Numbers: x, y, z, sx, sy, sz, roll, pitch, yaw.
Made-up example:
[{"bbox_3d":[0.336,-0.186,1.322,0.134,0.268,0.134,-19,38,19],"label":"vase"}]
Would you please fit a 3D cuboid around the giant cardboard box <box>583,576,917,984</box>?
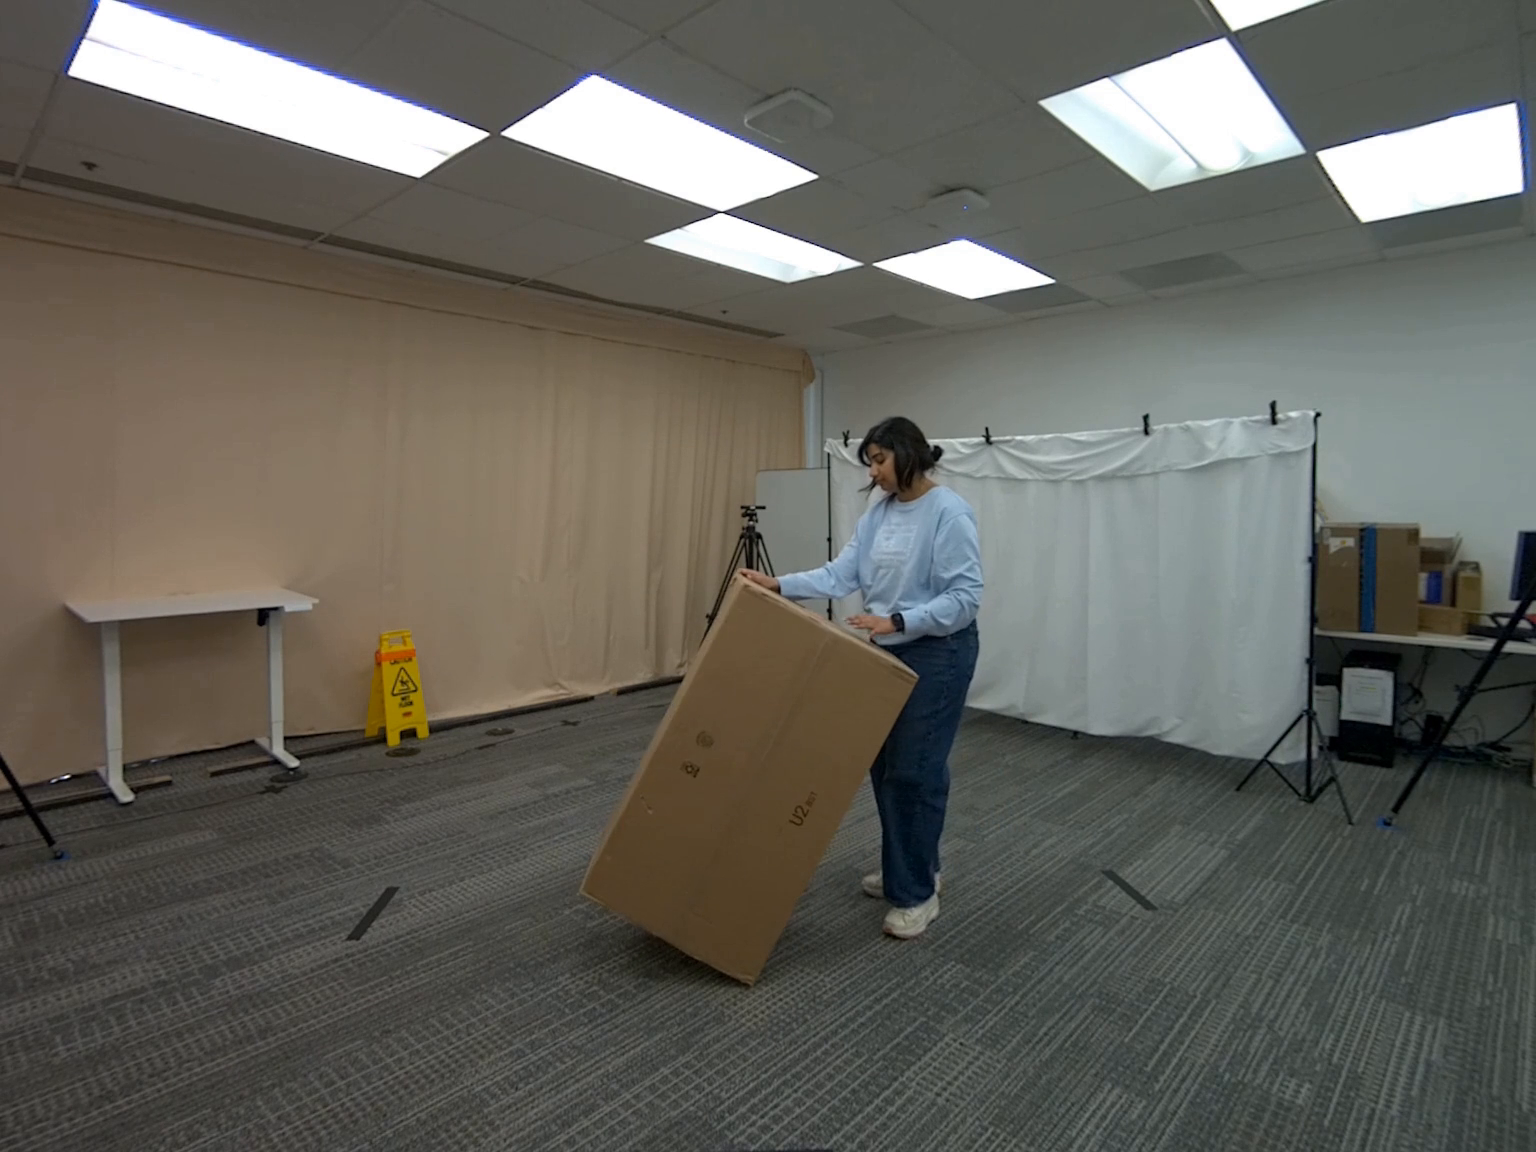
[{"bbox_3d":[-0.068,0.594,2.623,0.583,1.027,0.448,28,3,-2],"label":"giant cardboard box"}]
